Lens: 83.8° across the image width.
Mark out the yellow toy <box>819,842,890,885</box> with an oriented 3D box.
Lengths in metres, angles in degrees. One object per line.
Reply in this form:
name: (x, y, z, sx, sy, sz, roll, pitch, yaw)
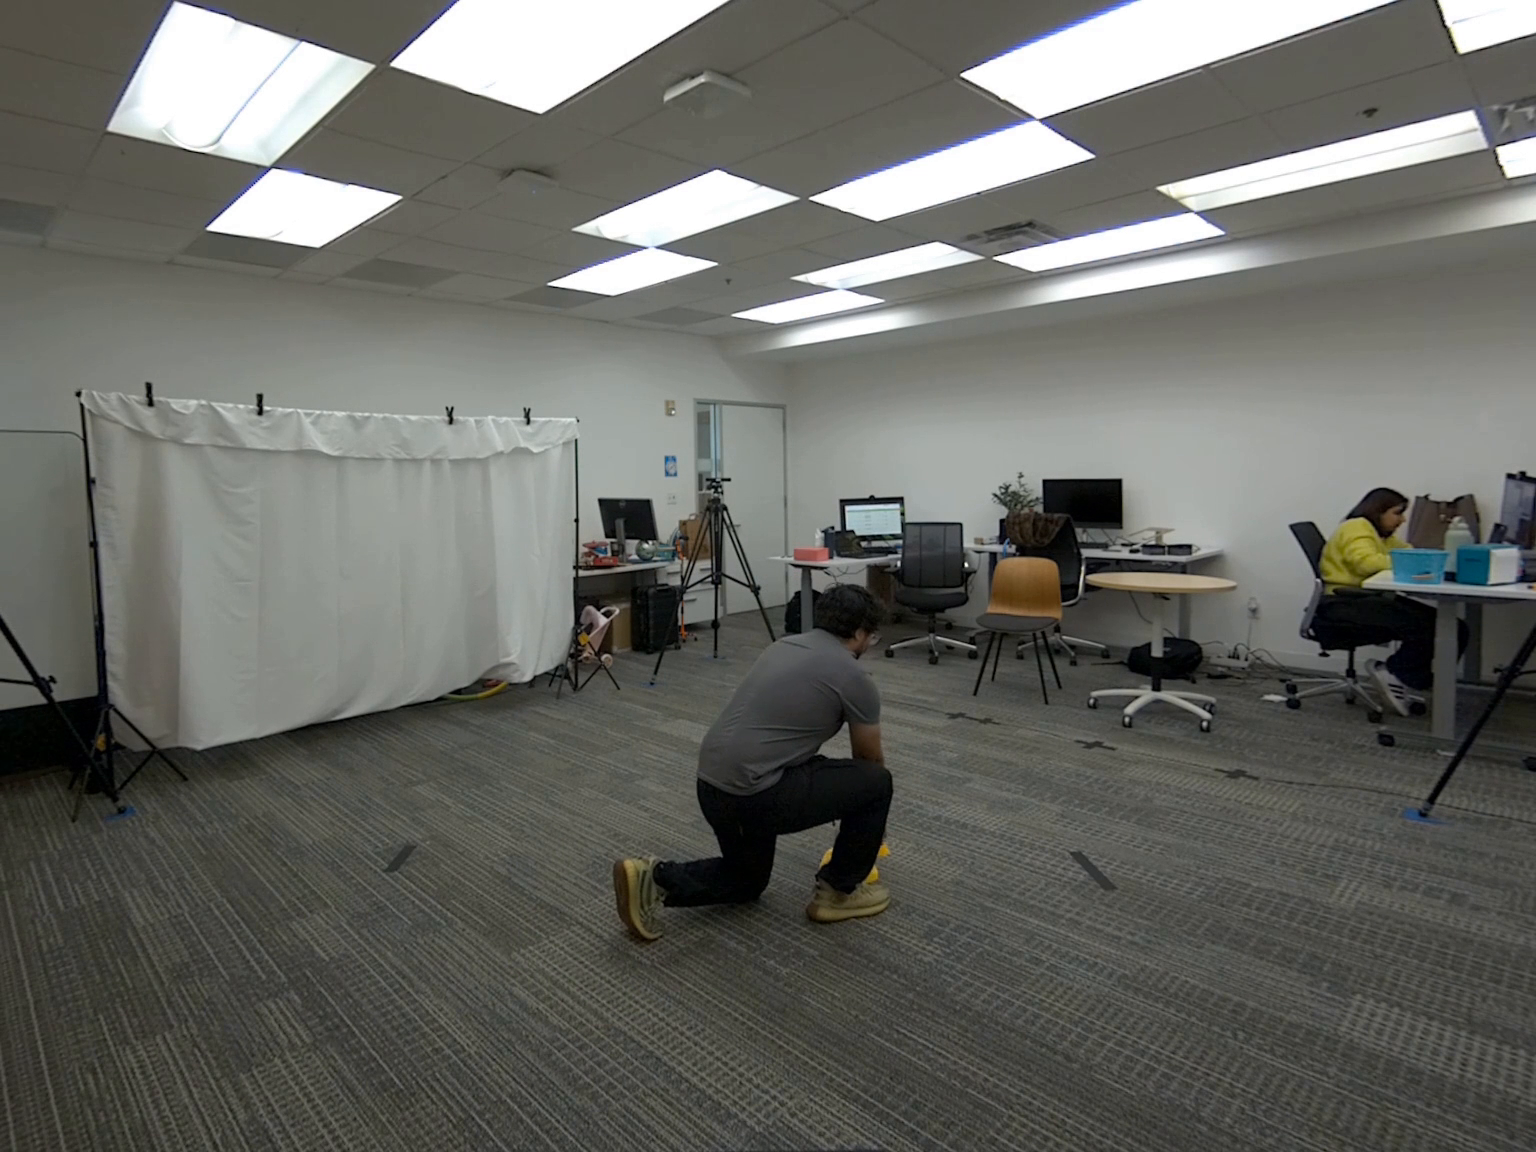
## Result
yellow toy: (0.303, 0.936, 3.015, 0.188, 0.229, 0.211, -5, 7, -35)
